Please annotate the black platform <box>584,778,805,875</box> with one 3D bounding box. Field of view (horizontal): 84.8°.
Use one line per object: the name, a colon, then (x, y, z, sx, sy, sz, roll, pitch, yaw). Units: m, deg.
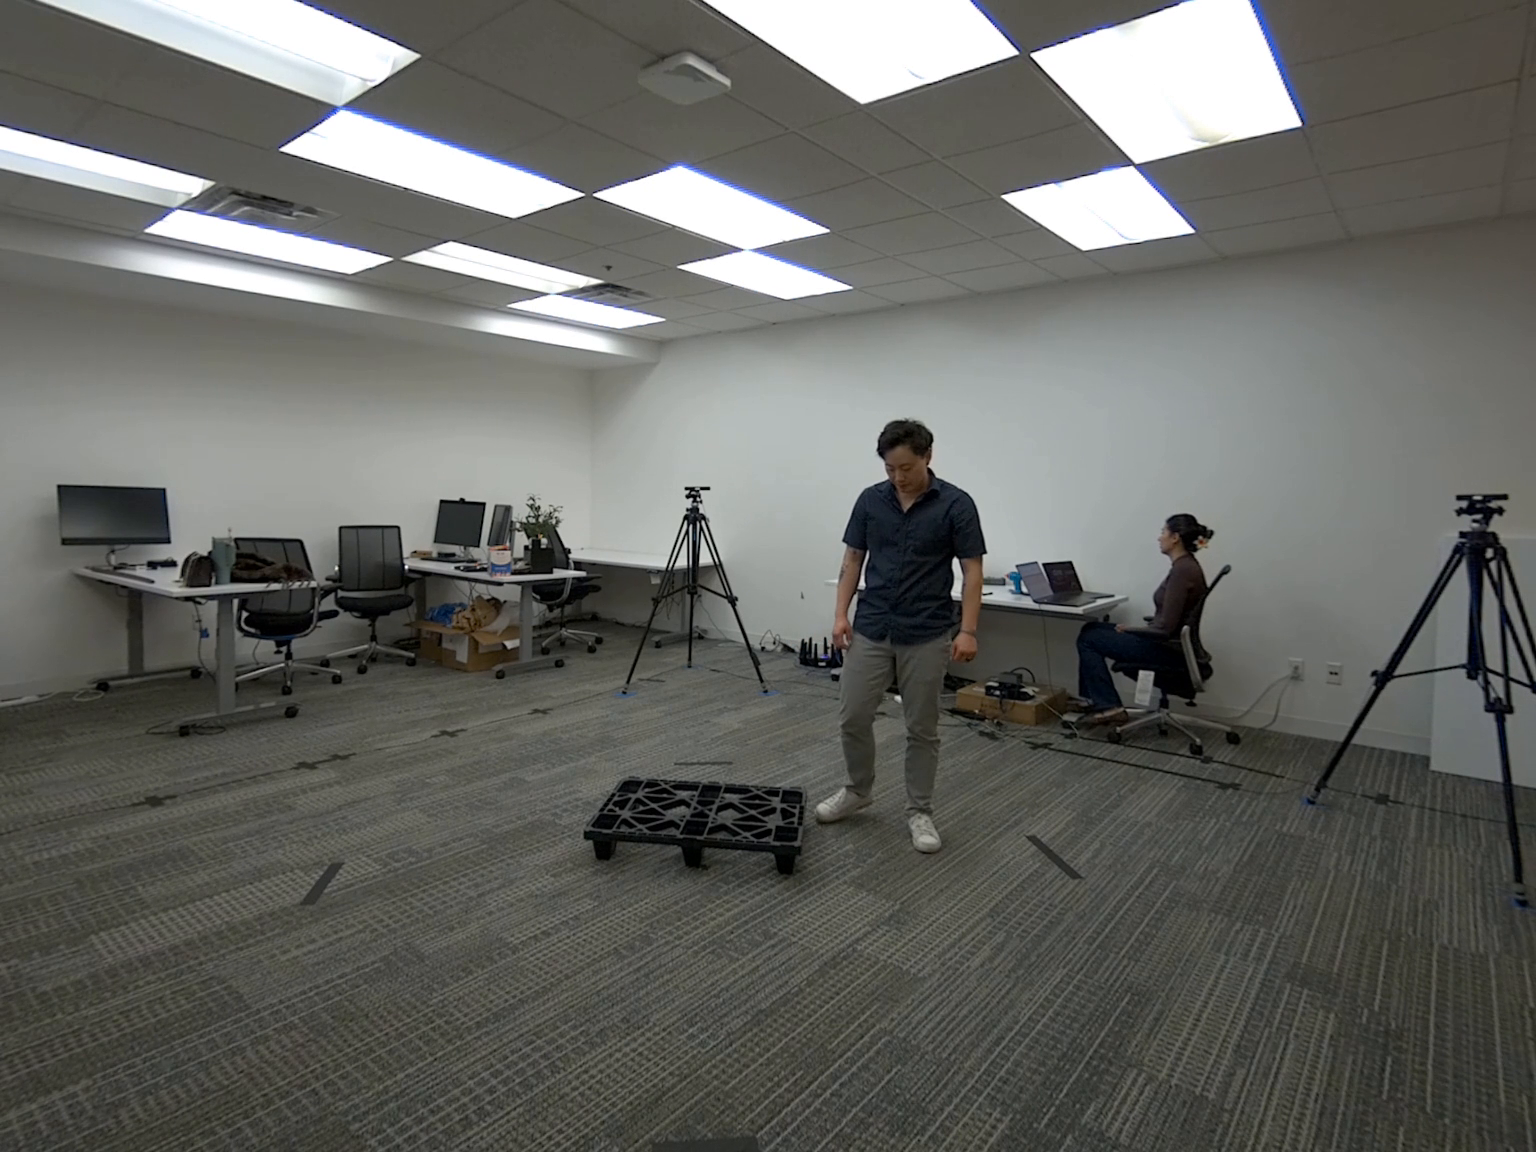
black platform: (-0.264, 0.974, 3.338, 0.812, 0.142, 0.603, 1, 6, 7)
